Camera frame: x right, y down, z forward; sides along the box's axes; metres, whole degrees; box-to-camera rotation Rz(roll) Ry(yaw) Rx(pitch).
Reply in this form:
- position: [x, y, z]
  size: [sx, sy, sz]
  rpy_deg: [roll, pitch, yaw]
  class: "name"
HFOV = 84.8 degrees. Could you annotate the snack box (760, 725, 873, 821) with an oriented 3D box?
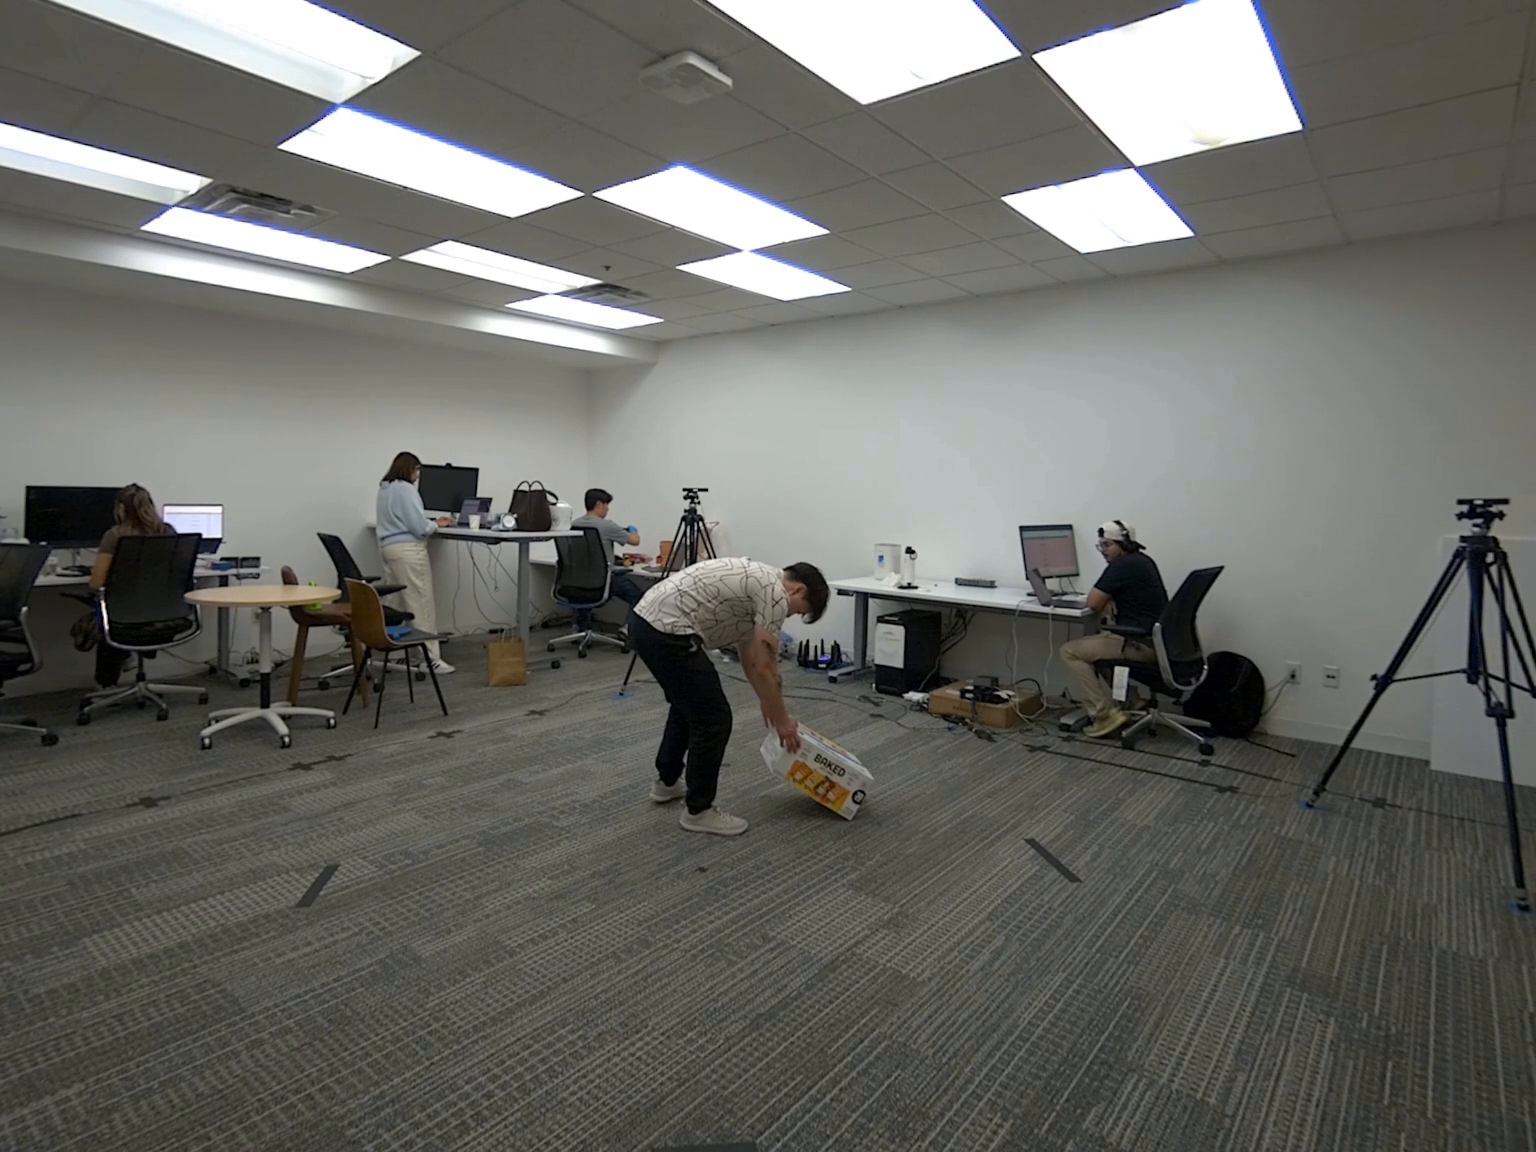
- position: [0.210, 0.830, 3.737]
  size: [0.402, 0.206, 0.343]
  rpy_deg: [31, 0, -7]
  class: "snack box"
